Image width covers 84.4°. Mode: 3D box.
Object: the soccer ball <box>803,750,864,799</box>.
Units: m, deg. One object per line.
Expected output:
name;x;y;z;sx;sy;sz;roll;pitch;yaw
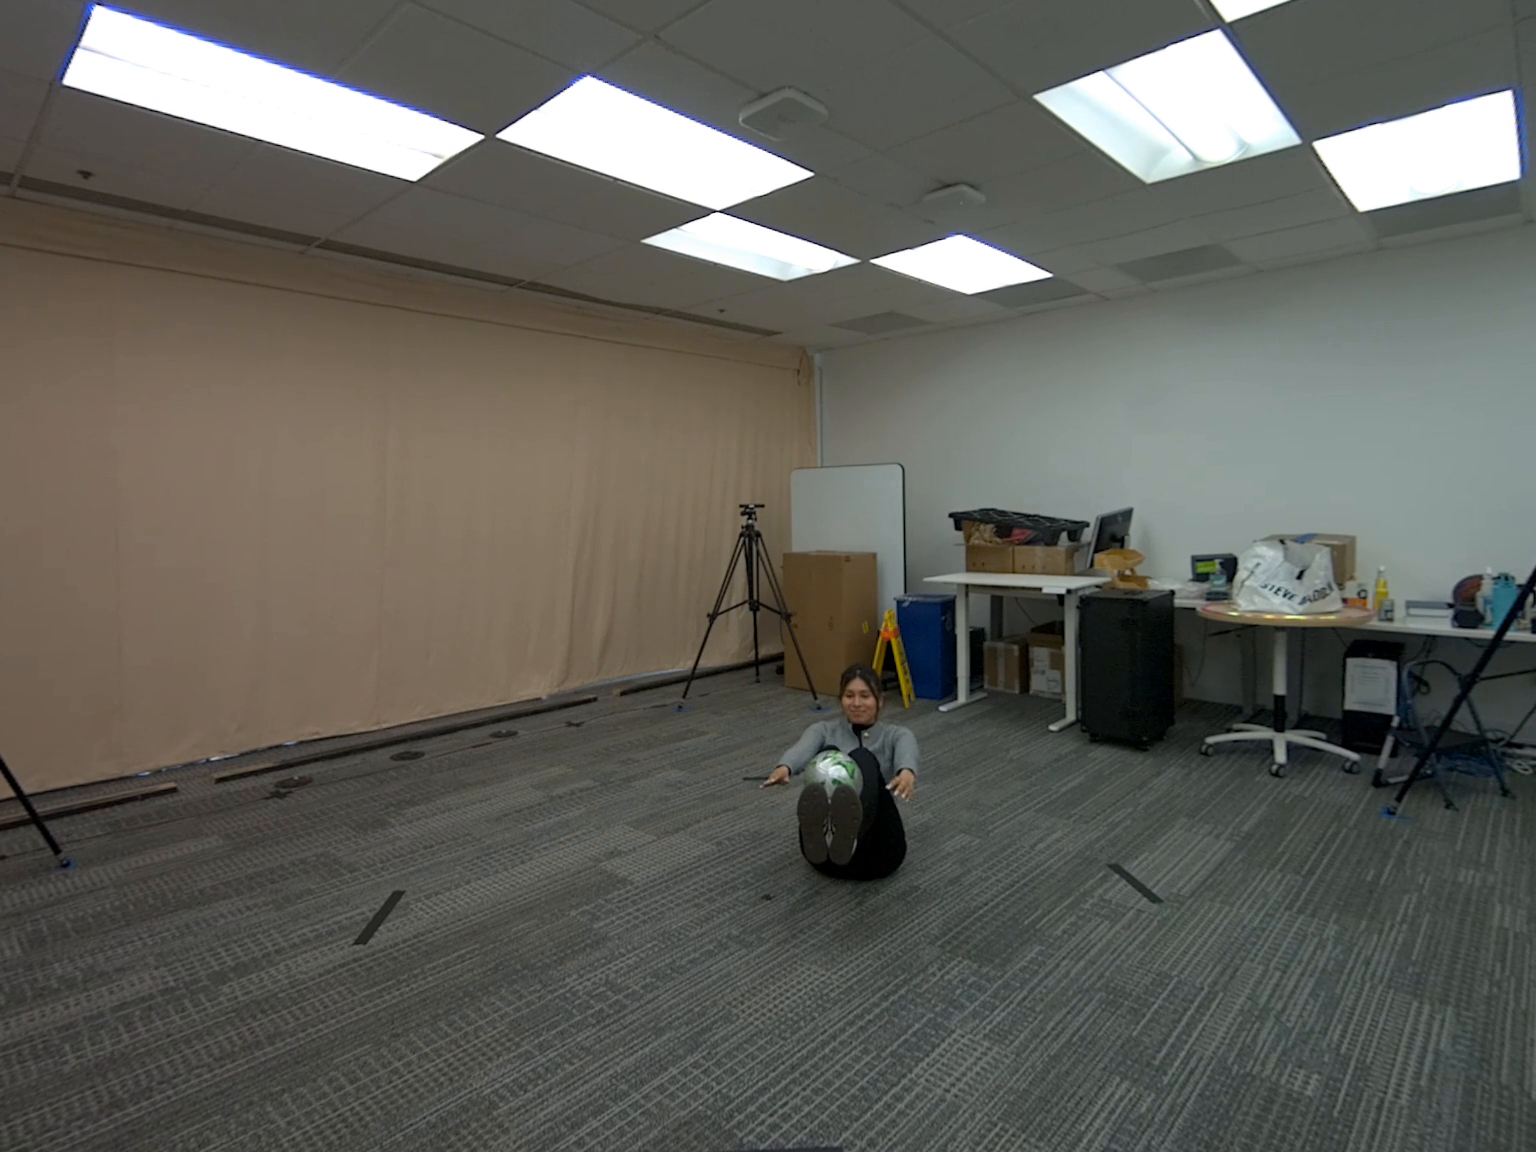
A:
soccer ball;0.213;0.659;2.660;0.187;0.187;0.188;-1;4;-2
